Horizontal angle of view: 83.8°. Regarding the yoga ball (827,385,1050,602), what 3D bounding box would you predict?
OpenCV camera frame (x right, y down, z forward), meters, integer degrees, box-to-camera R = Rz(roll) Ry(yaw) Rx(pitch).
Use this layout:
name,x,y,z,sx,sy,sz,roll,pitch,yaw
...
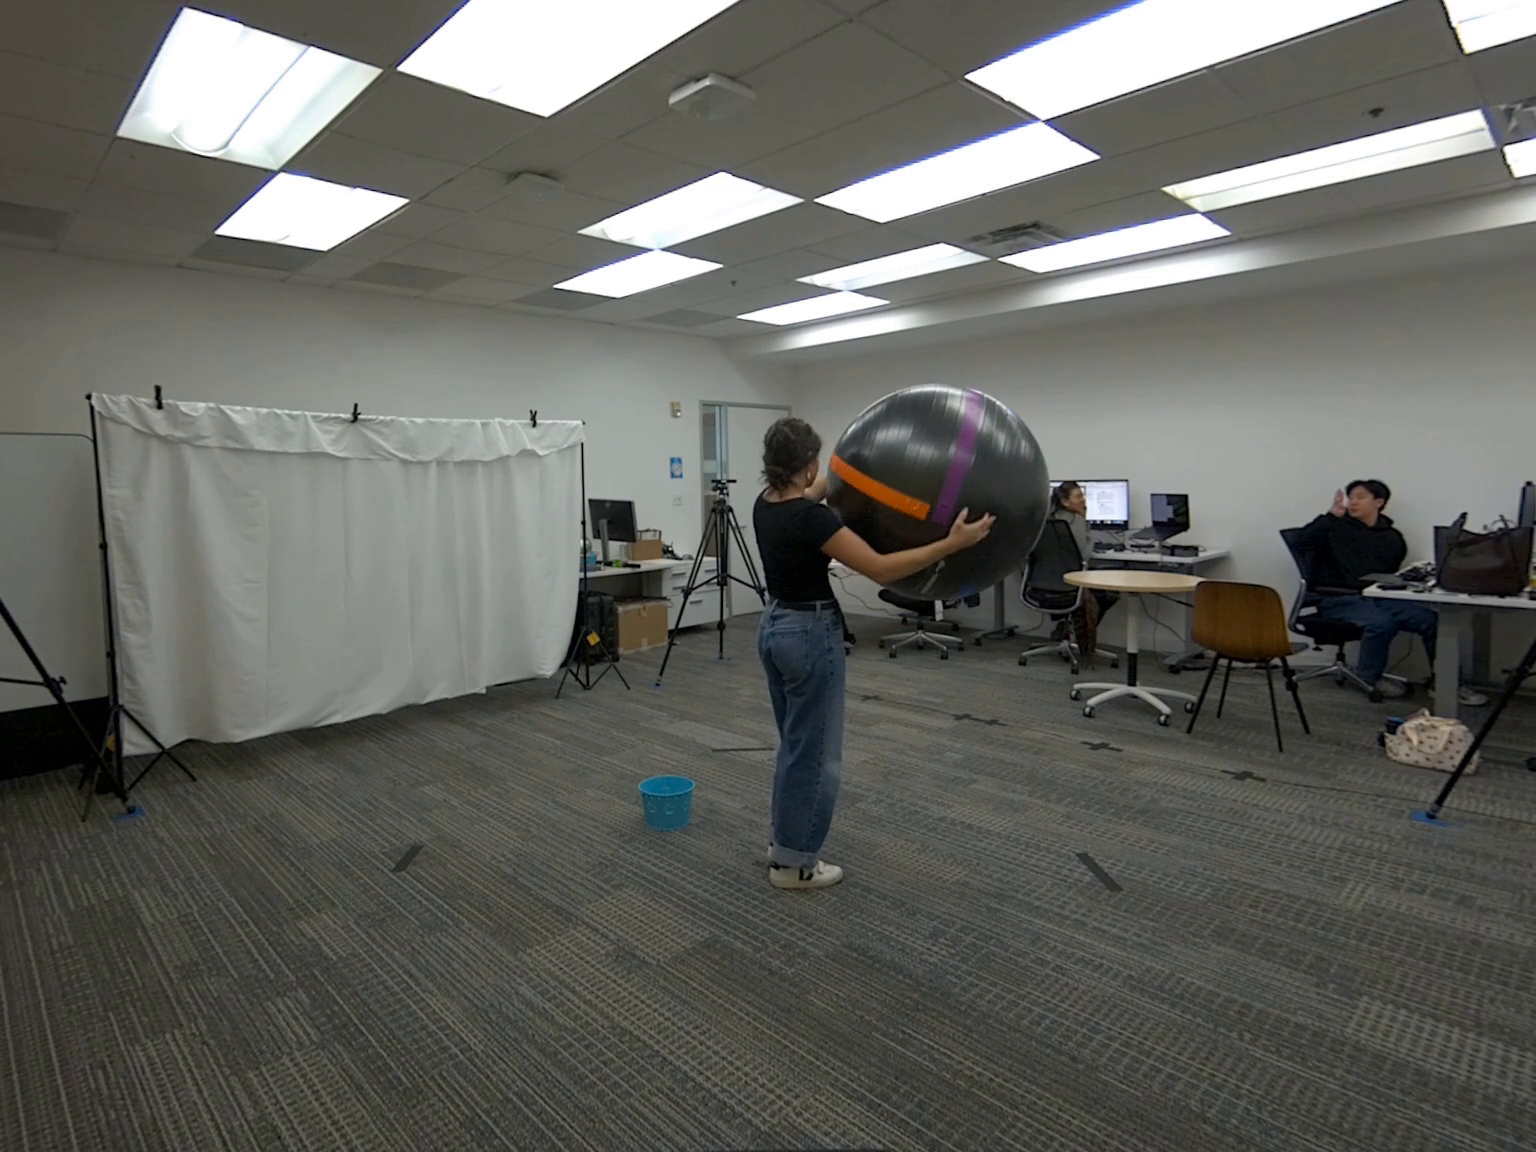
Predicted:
name,x,y,z,sx,sy,sz,roll,pitch,yaw
yoga ball,0.593,-0.288,3.007,0.757,0.755,0.762,-1,5,-2
